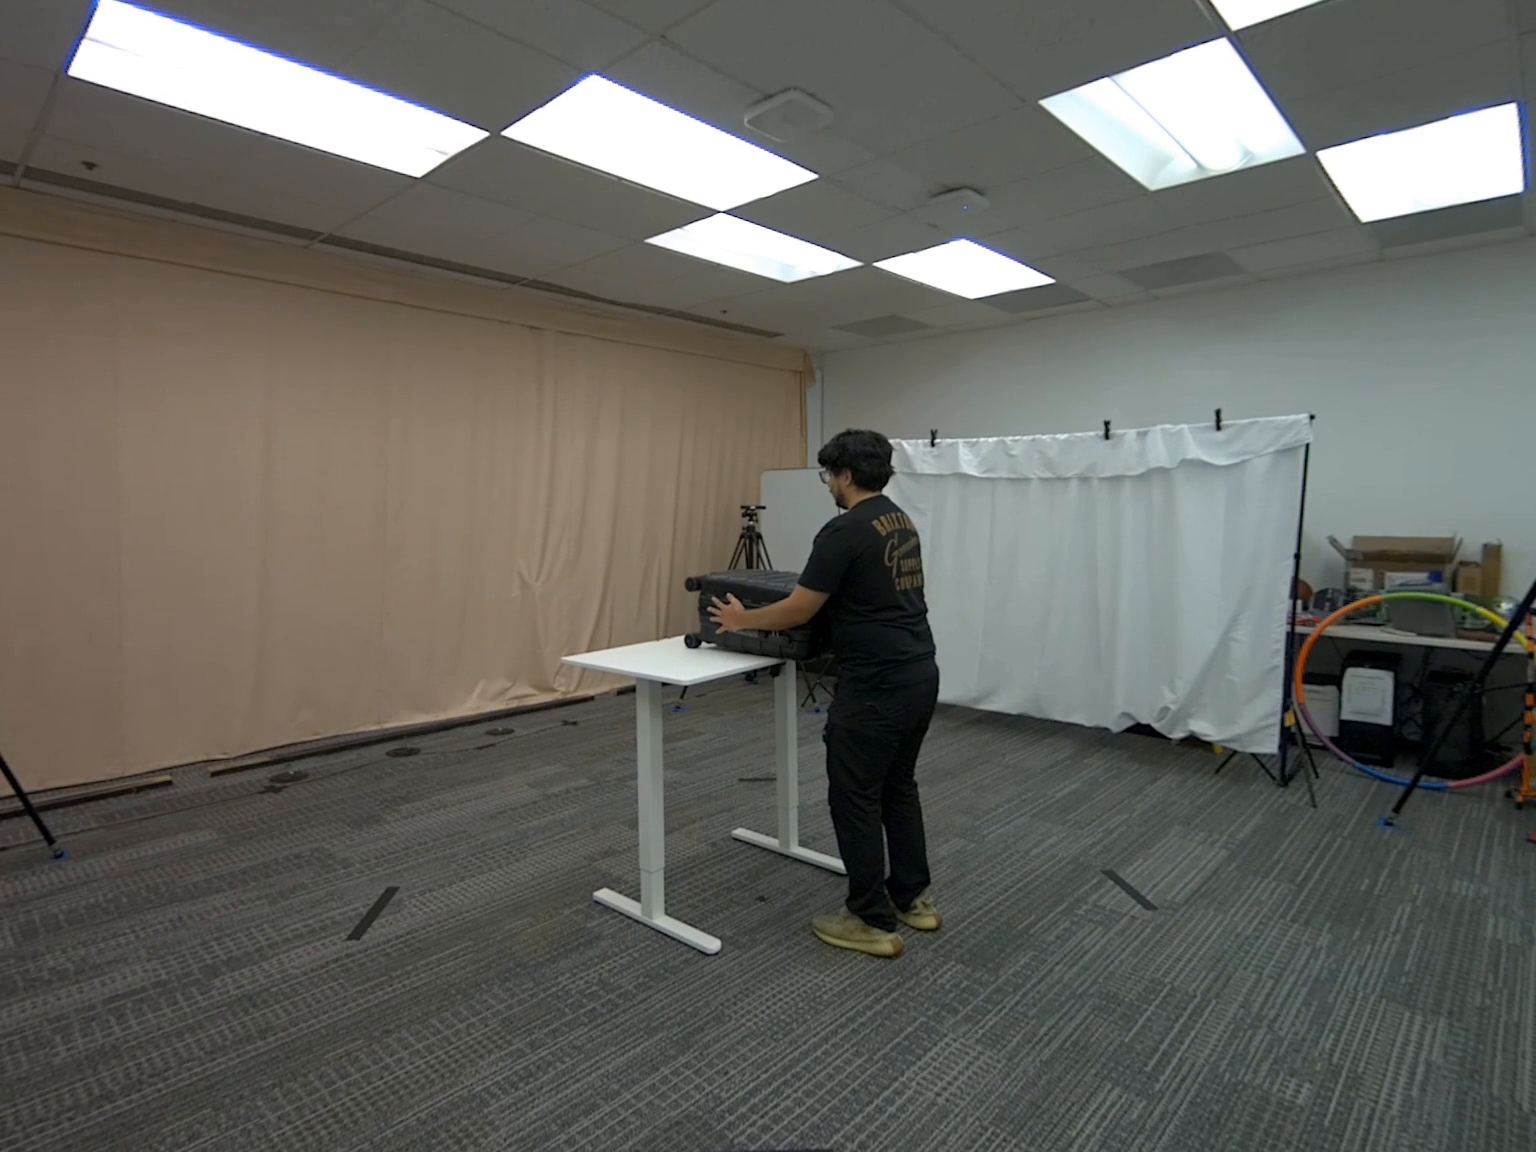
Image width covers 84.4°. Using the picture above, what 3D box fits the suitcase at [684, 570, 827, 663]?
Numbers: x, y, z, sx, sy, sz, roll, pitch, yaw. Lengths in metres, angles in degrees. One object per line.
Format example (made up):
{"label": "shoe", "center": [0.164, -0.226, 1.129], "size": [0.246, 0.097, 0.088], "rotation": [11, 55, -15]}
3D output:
{"label": "suitcase", "center": [0.024, 0.134, 2.975], "size": [0.568, 0.248, 0.364], "rotation": [6, 6, 40]}
